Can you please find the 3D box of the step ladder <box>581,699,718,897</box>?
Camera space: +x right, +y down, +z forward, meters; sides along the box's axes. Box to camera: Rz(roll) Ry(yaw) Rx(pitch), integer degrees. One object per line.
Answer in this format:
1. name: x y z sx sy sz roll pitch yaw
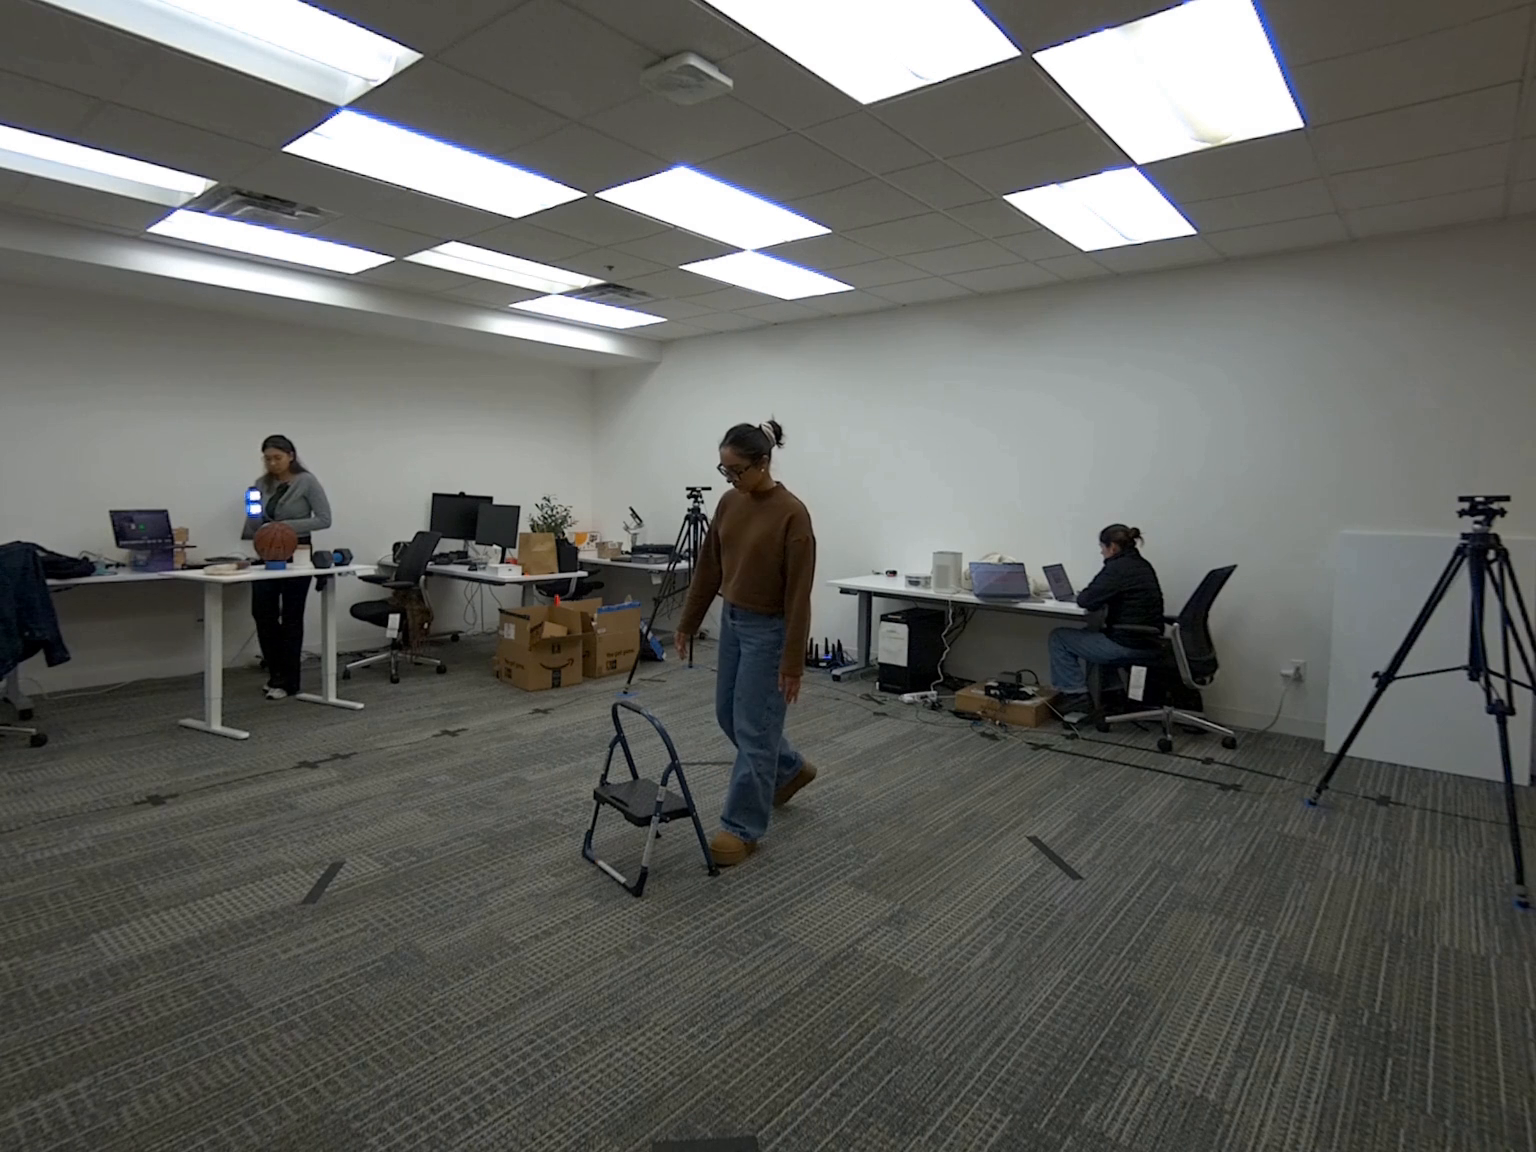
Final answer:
1. step ladder: -0.445 0.758 3.115 0.339 0.604 0.445 -2 5 -39
